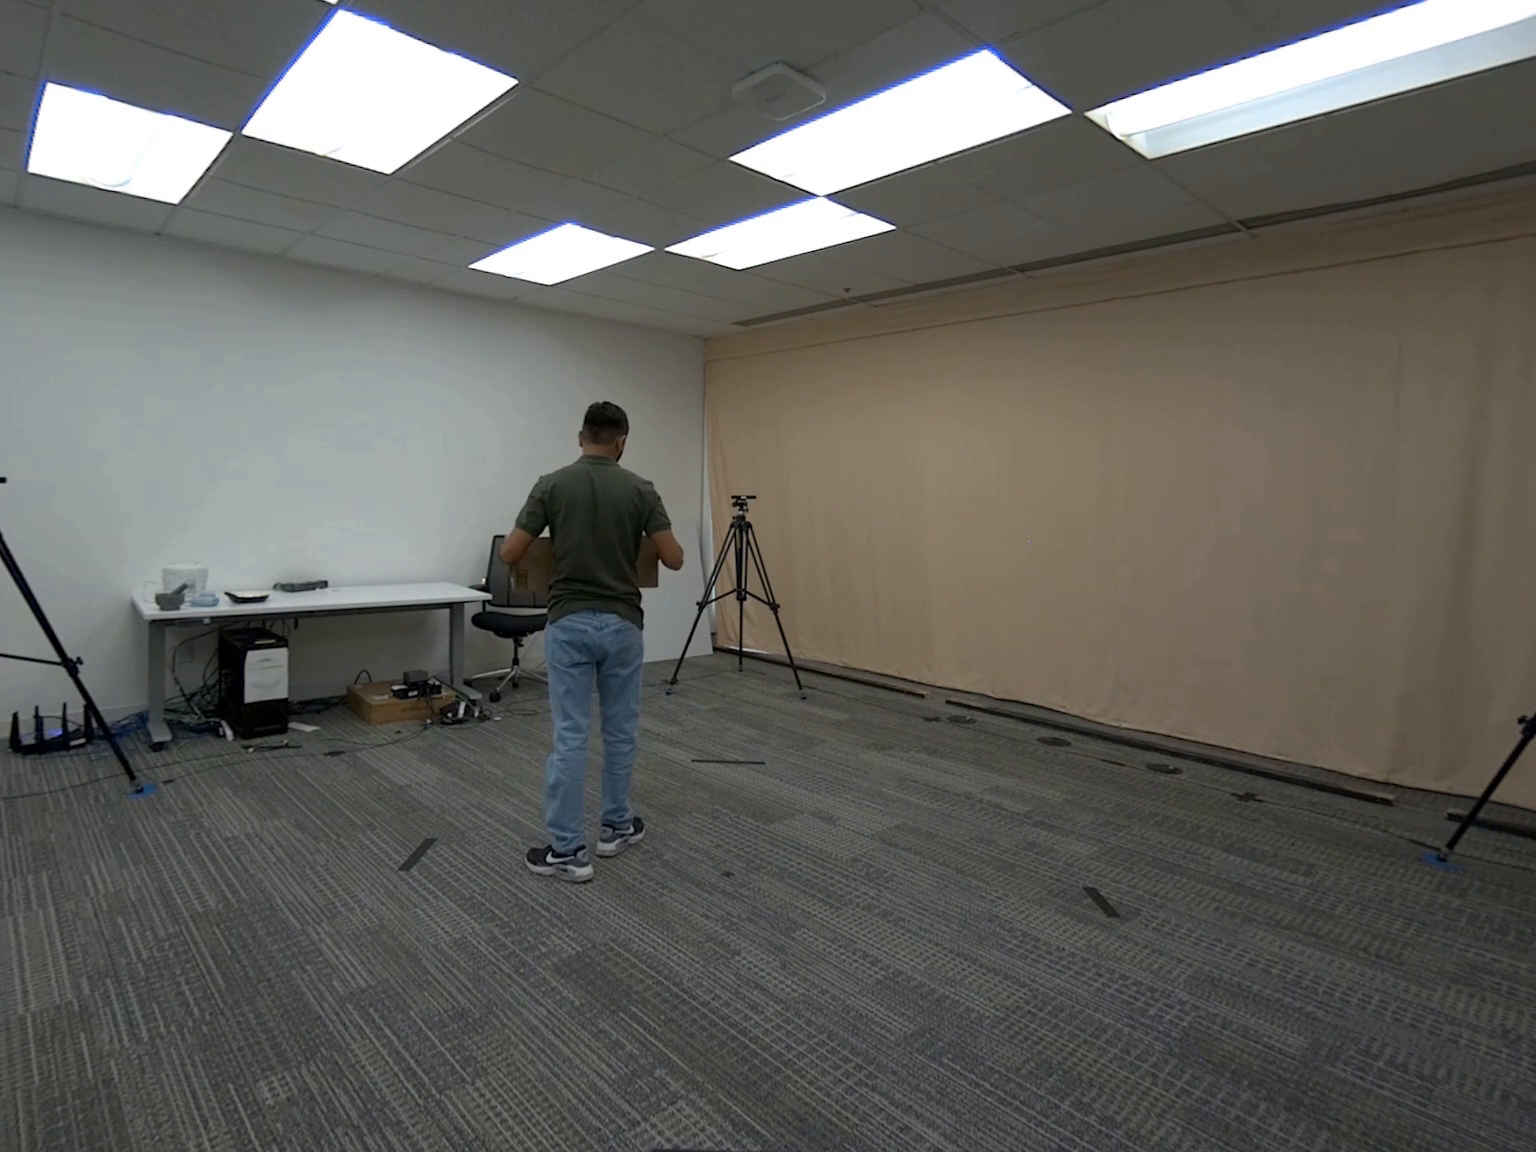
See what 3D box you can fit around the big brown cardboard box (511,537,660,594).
[{"bbox_3d":[-0.767,-0.077,3.479,0.581,0.232,0.424,-2,6,-17],"label":"big brown cardboard box"}]
